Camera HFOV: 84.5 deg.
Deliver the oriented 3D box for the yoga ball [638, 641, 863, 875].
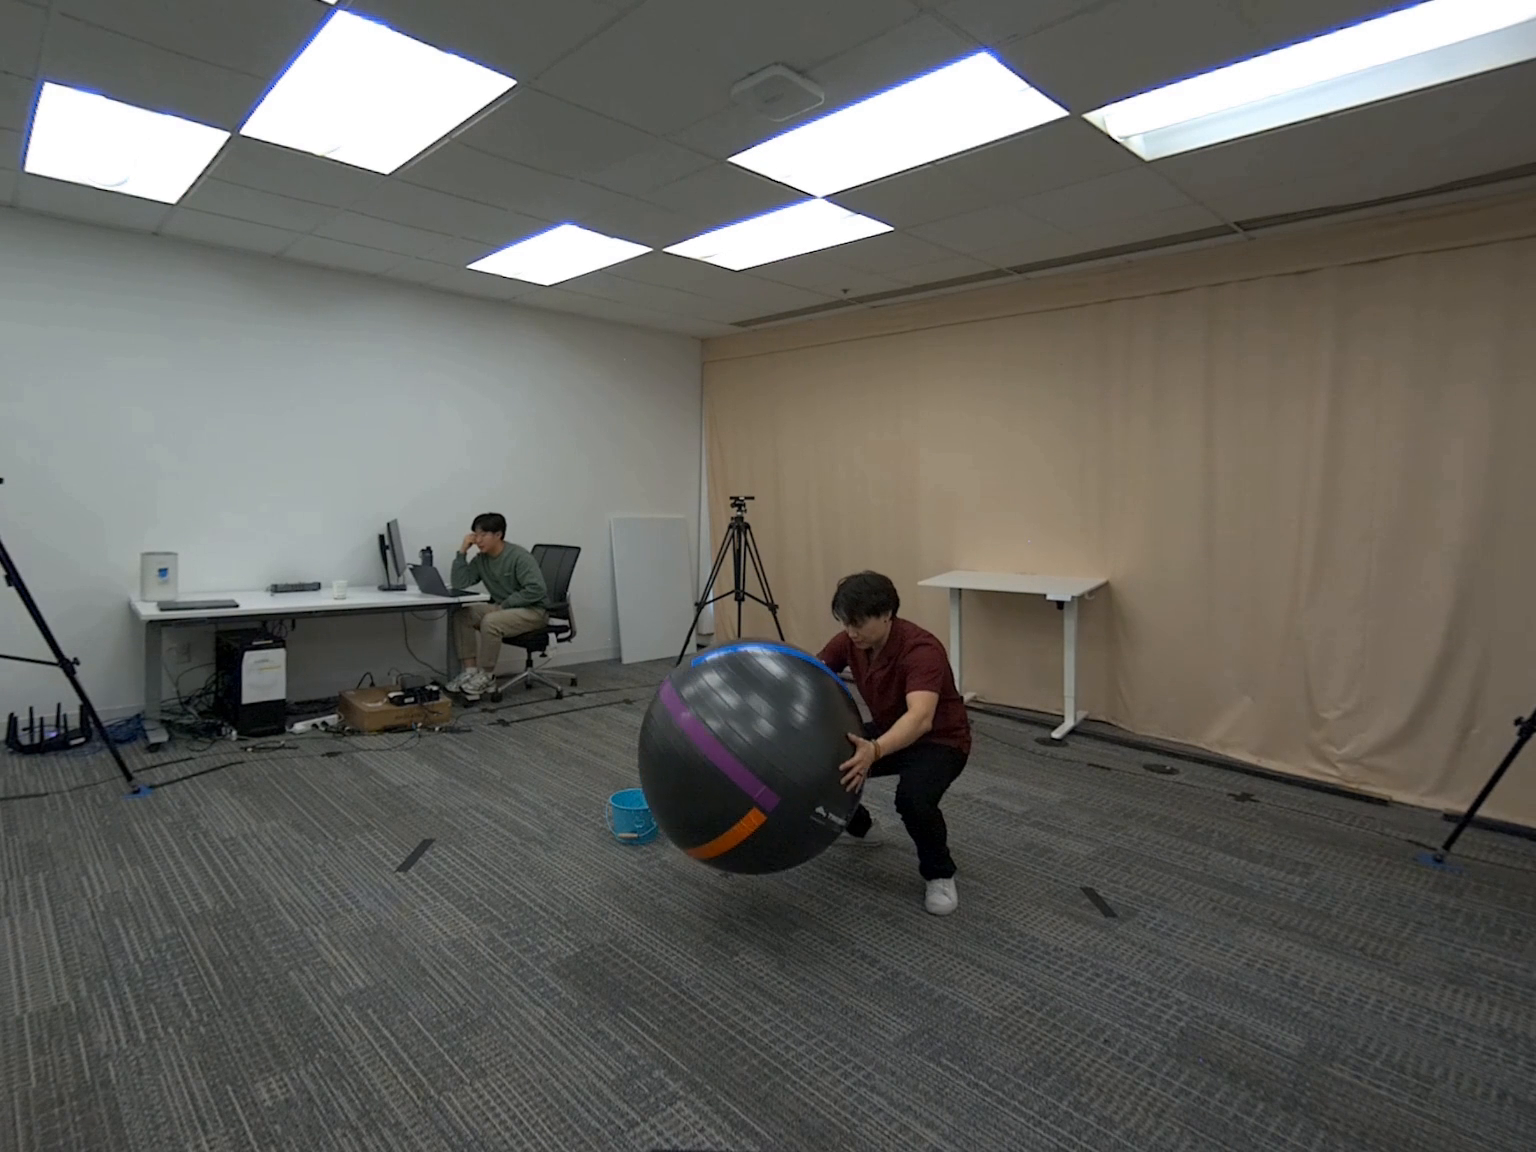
[{"bbox_3d":[-0.050,0.588,2.780,0.757,0.756,0.761,1,4,-1],"label":"yoga ball"}]
